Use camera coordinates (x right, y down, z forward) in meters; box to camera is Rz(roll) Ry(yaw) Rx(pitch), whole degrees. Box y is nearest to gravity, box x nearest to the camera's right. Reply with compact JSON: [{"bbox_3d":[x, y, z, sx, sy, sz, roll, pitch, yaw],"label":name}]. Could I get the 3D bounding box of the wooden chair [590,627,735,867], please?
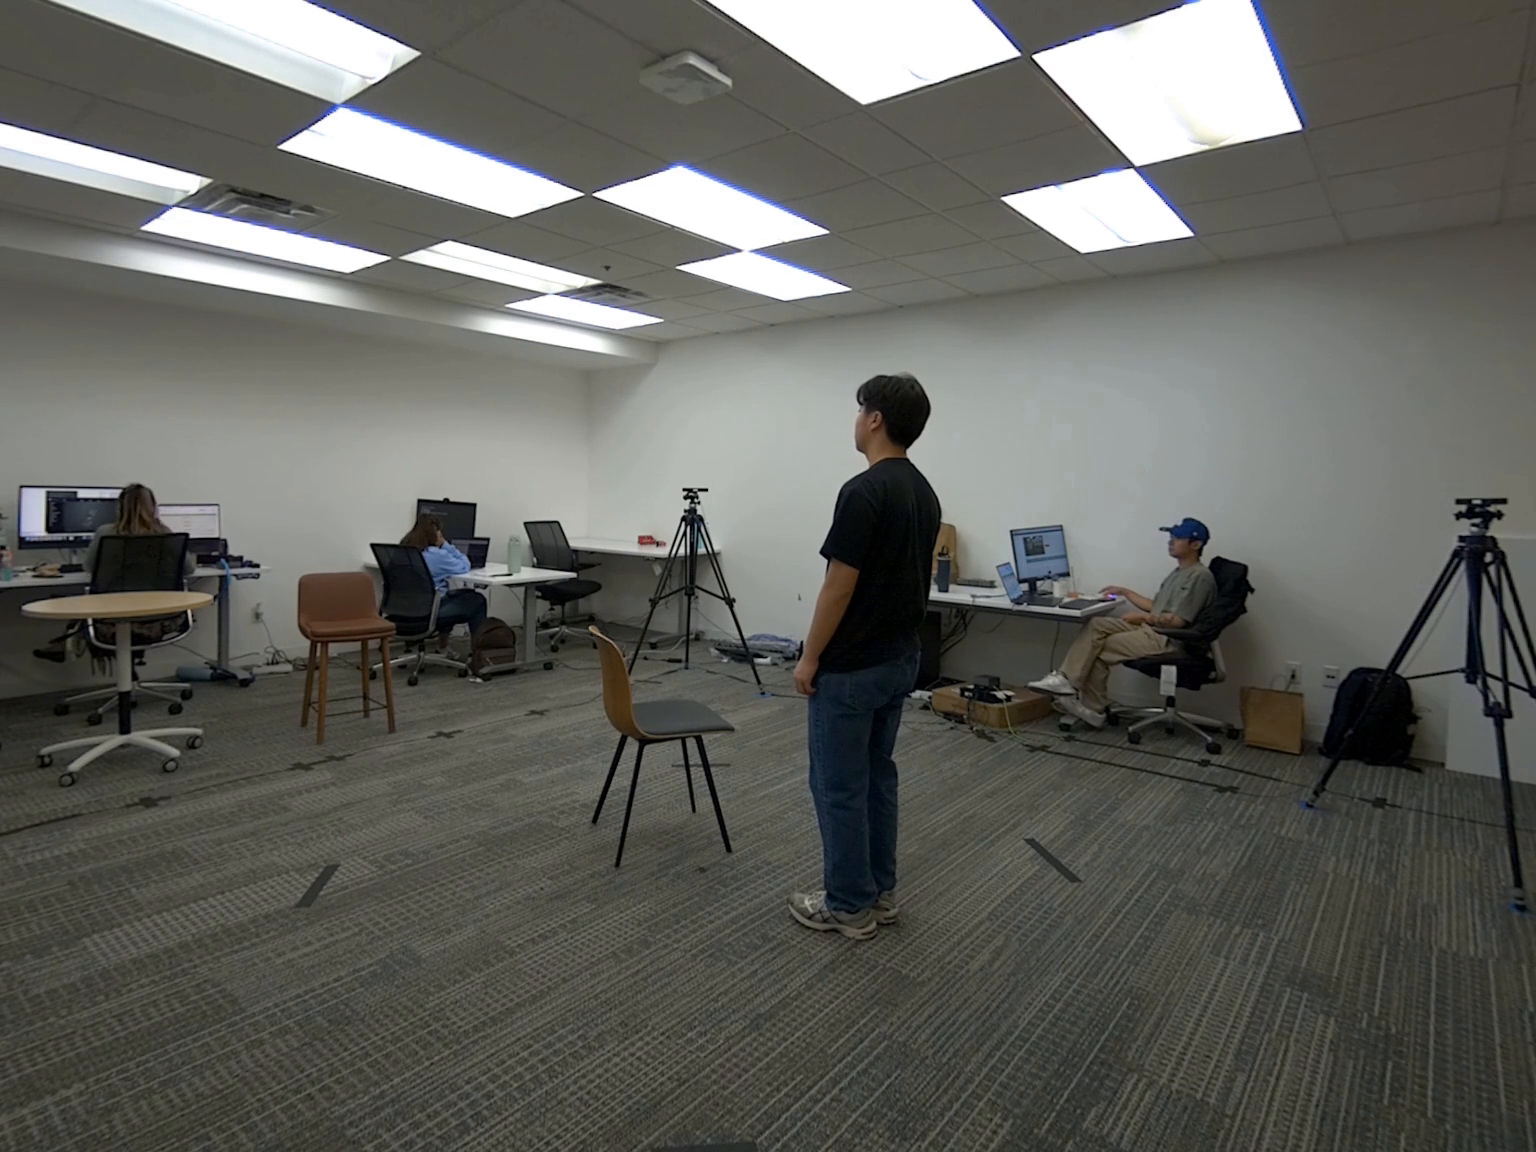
[{"bbox_3d":[-0.432,0.615,3.366,0.513,0.874,0.489,-4,4,-21],"label":"wooden chair"}]
